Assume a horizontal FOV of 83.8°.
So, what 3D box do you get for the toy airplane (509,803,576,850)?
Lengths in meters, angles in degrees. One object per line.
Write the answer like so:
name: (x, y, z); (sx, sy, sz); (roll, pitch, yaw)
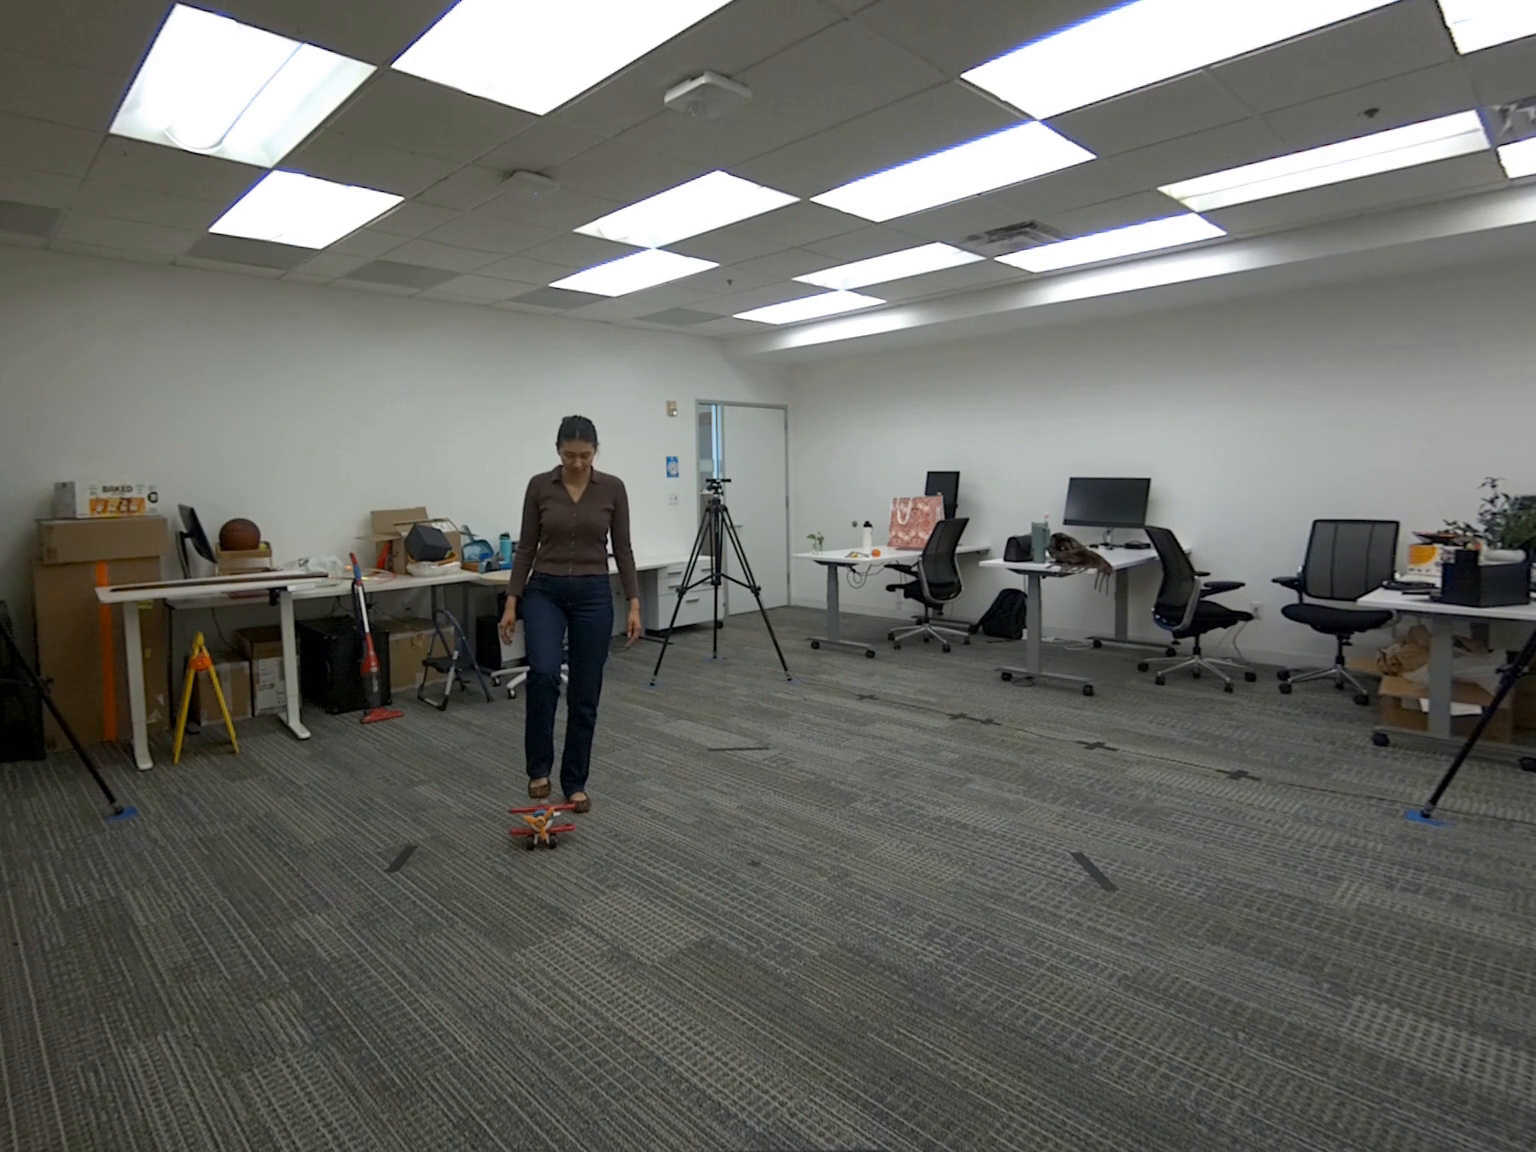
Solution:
toy airplane: (-0.900, 0.964, 3.348); (0.245, 0.156, 0.267); (-5, 7, -36)
